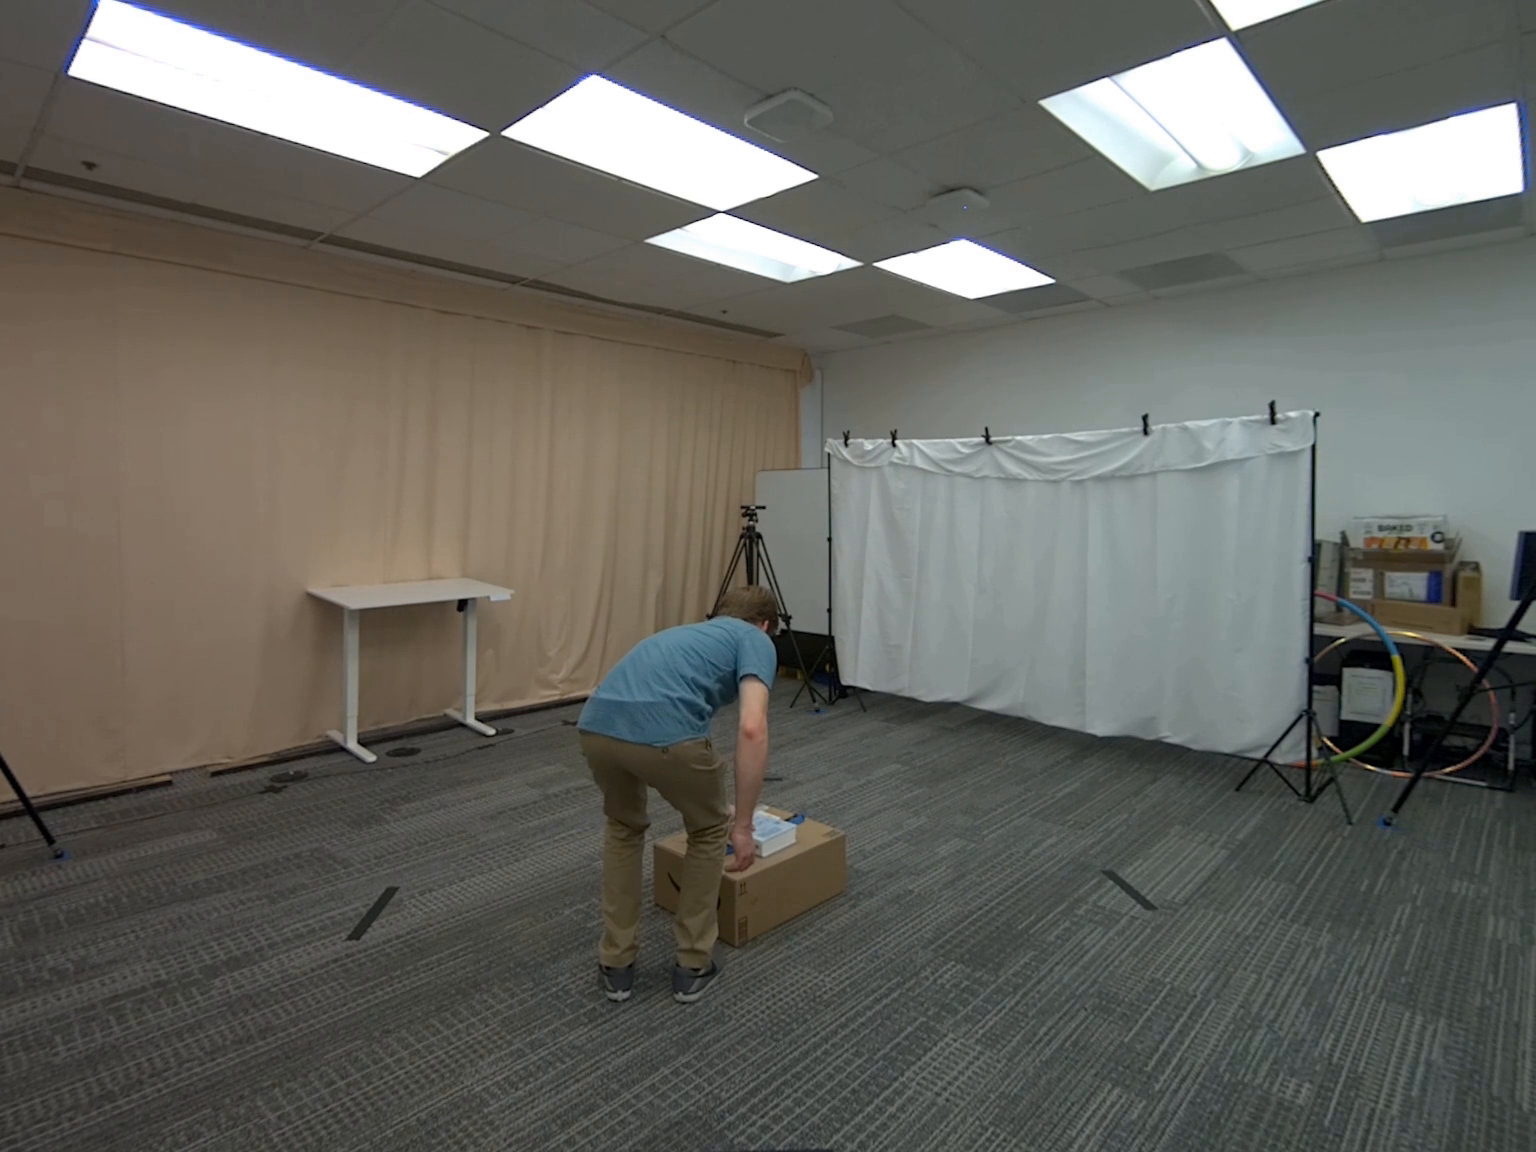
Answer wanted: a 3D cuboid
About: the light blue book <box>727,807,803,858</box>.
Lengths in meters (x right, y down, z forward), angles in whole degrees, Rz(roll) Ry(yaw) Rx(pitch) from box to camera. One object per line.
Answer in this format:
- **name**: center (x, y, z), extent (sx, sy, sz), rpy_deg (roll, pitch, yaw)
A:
- **light blue book**: center (-0.050, 0.902, 2.981), extent (0.270, 0.059, 0.185), rpy_deg (4, 6, 42)
